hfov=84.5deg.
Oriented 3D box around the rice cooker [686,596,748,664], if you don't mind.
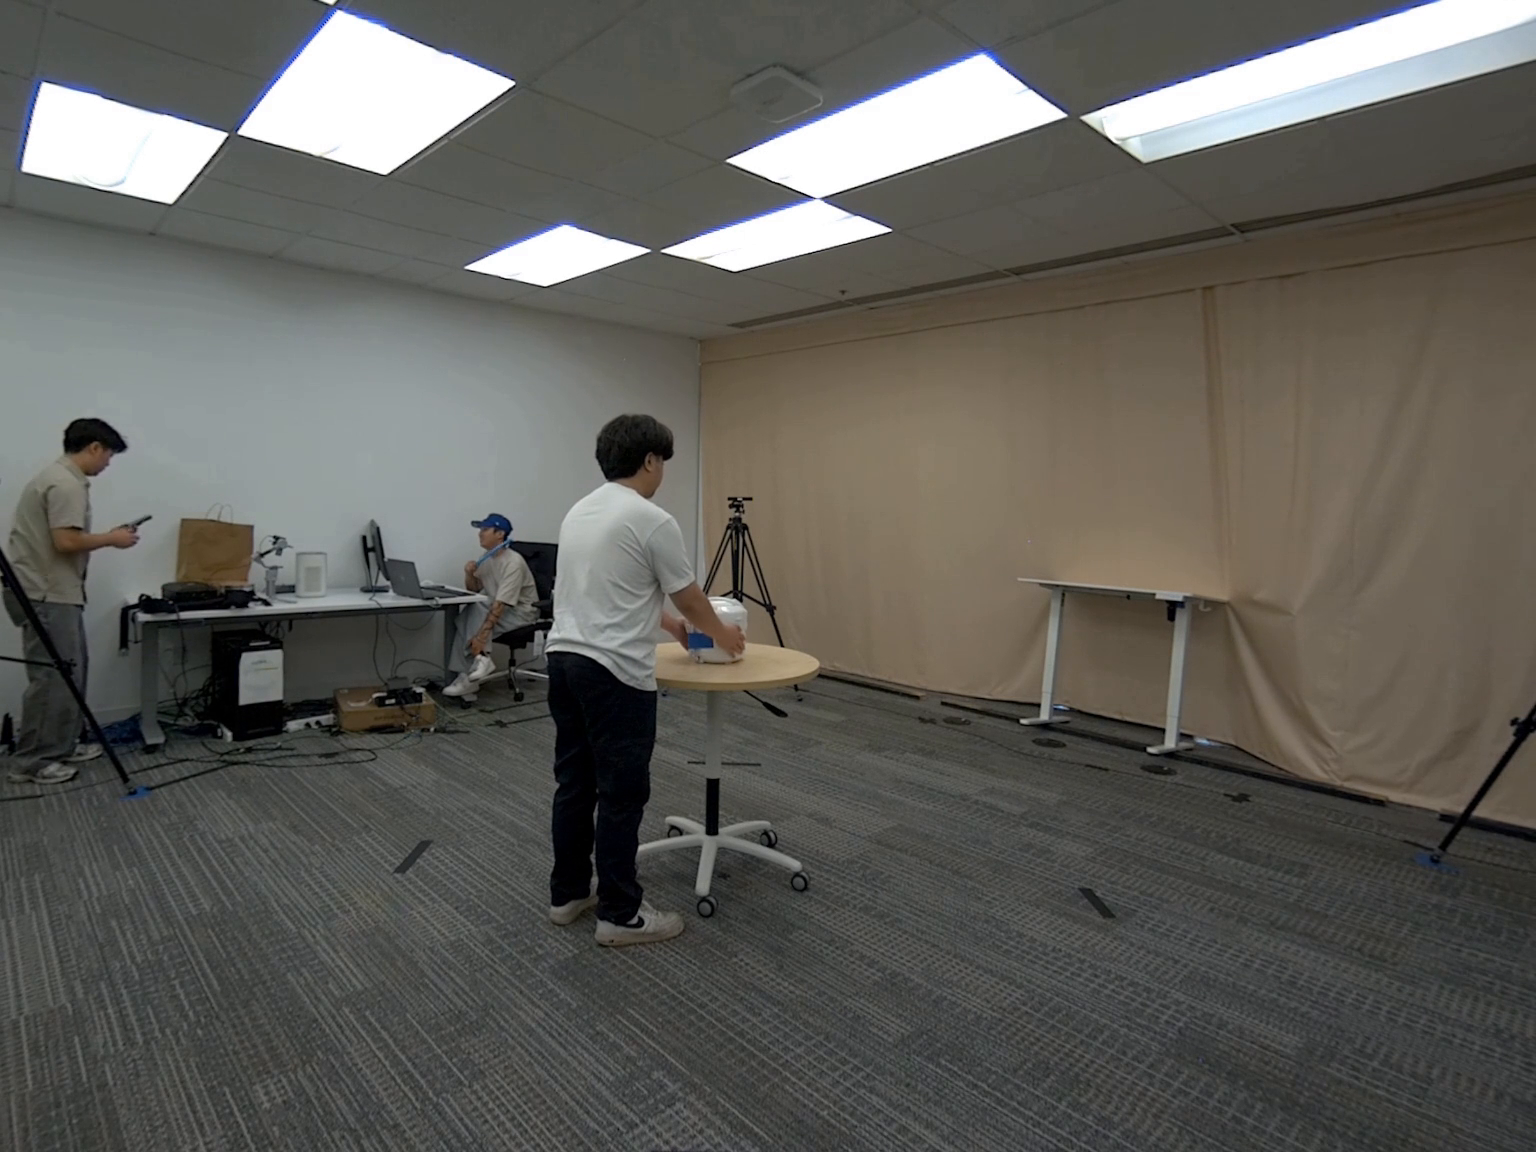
[{"bbox_3d":[-0.188,0.193,3.108,0.221,0.232,0.217,3,4,3],"label":"rice cooker"}]
